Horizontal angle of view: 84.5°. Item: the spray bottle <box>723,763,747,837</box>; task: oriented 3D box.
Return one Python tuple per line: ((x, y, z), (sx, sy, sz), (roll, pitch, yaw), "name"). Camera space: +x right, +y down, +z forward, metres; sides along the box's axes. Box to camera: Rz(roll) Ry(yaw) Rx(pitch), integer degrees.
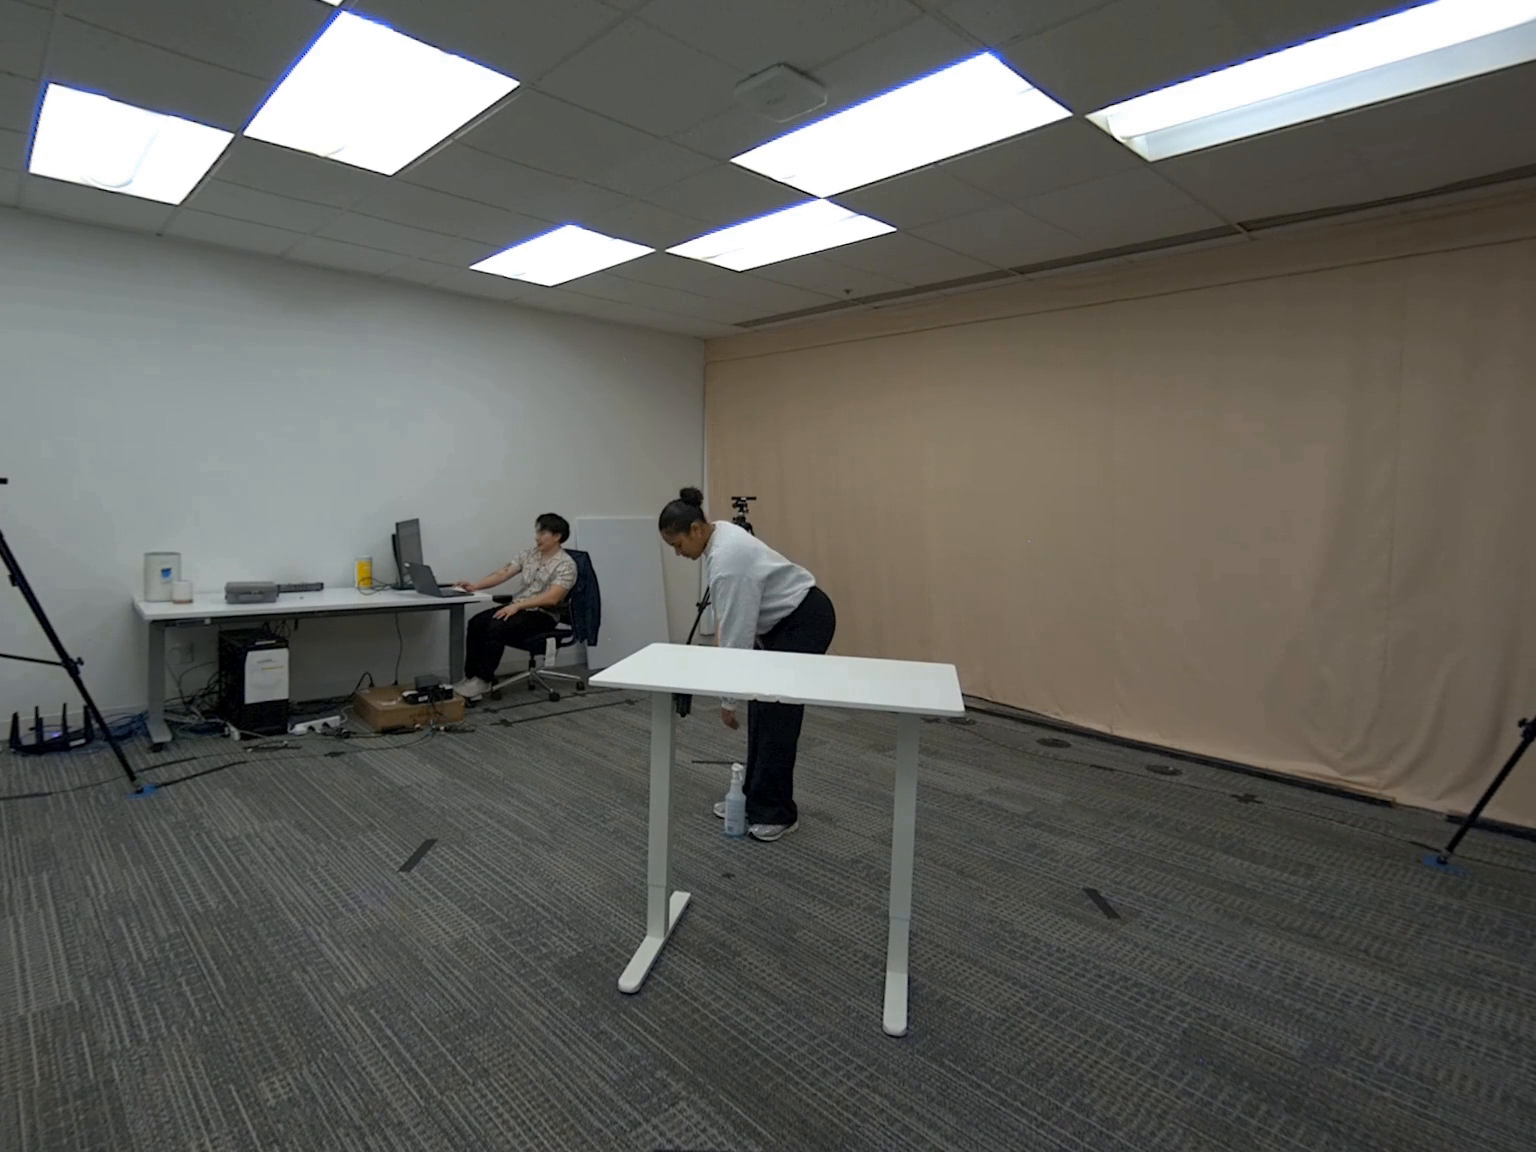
((-0.139, 0.928, 3.494), (0.087, 0.297, 0.090), (2, 2, 2), "spray bottle")
